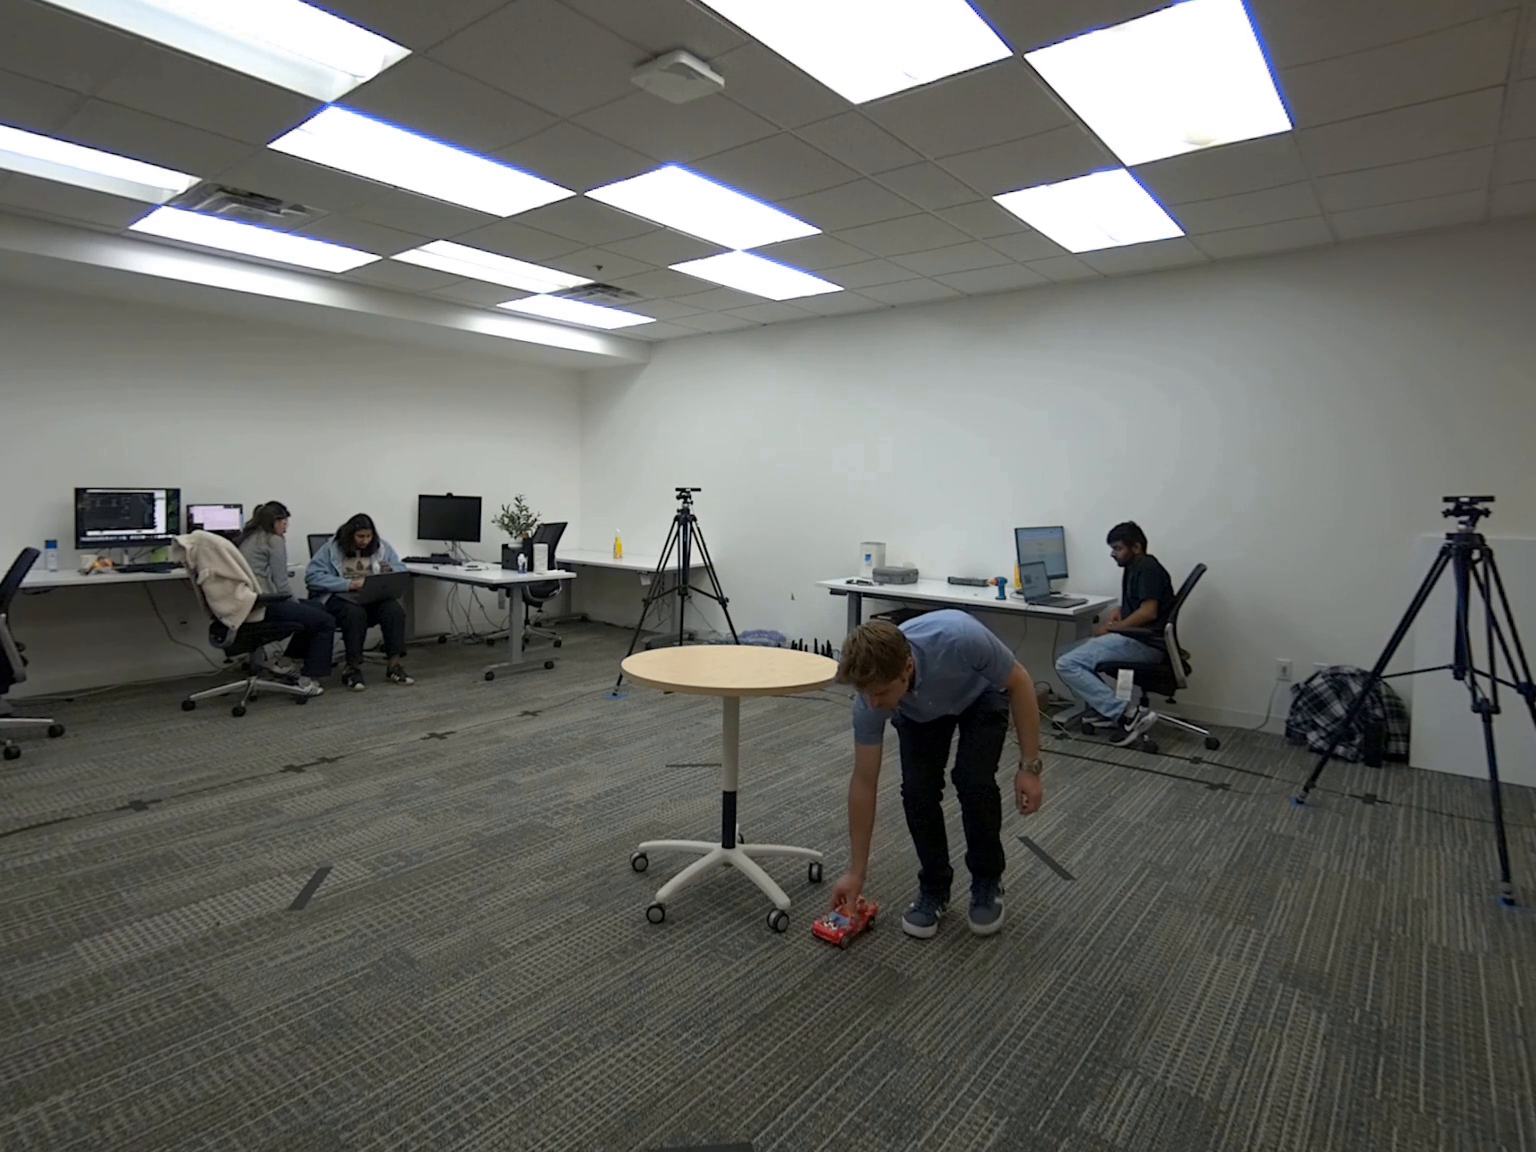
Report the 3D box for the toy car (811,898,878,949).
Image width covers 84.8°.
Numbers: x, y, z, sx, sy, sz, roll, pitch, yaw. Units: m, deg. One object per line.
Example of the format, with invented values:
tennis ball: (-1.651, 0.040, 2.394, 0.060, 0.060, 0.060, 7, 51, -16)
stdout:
toy car: (0.248, 1.093, 2.694, 0.135, 0.082, 0.249, 6, 18, 41)
